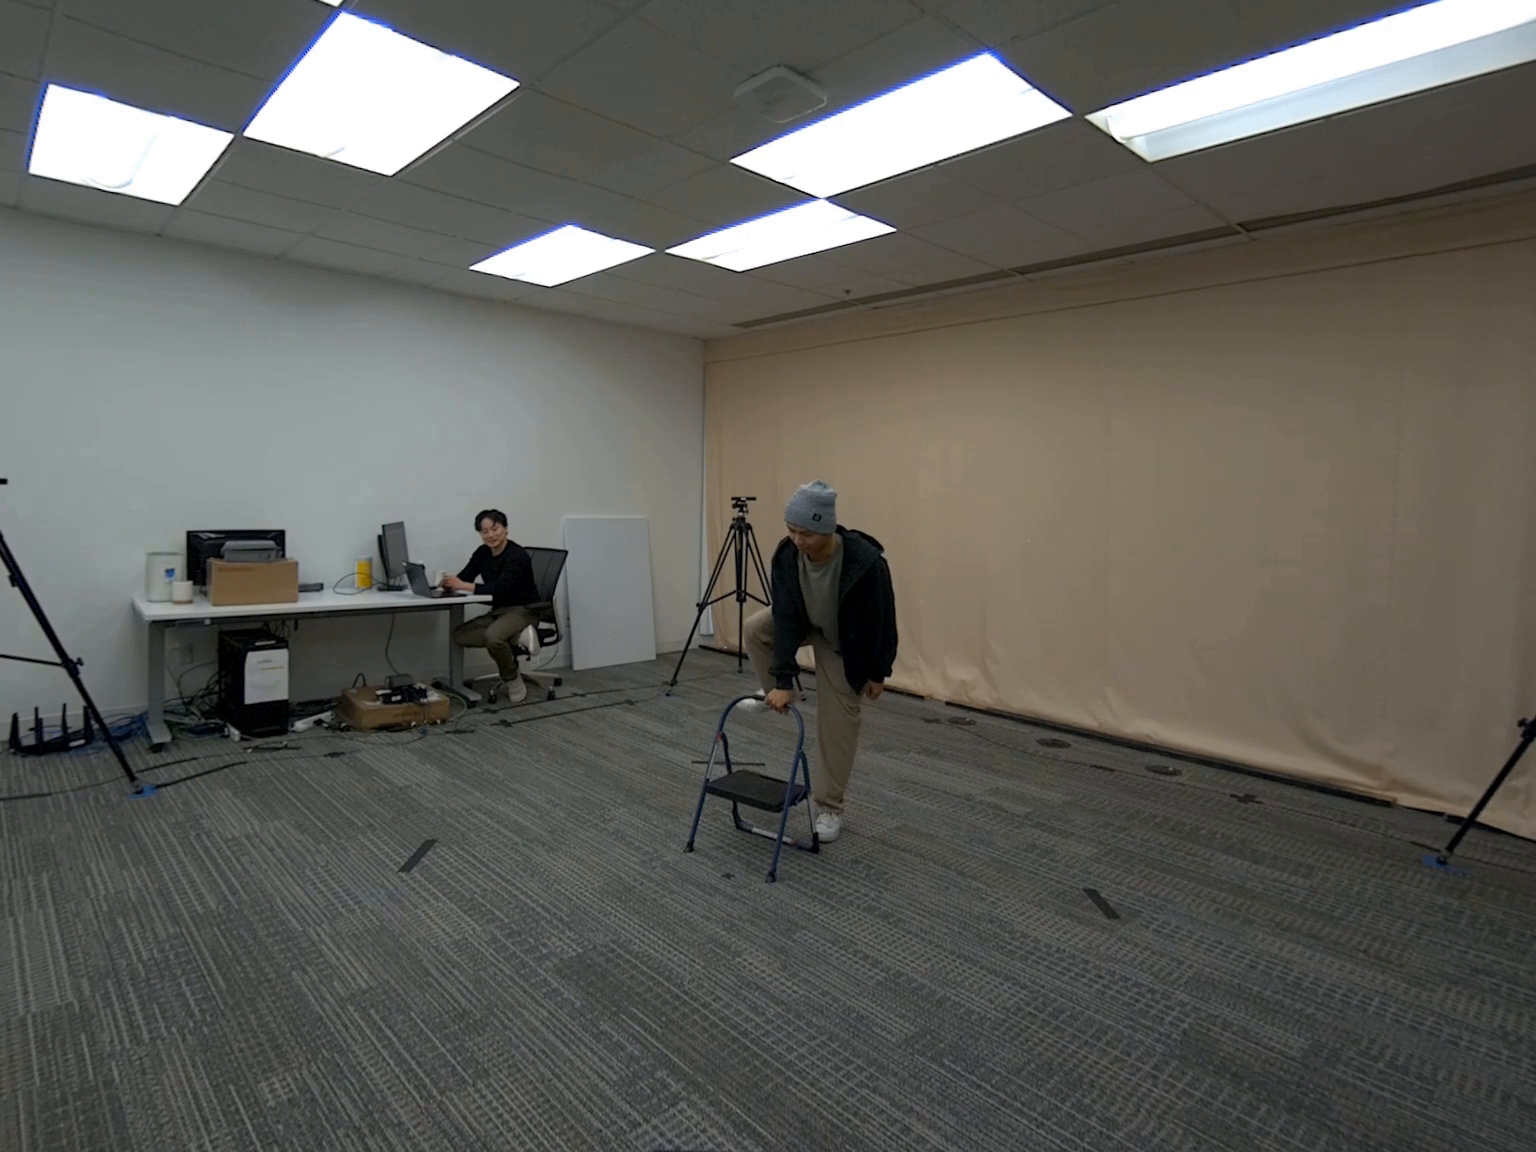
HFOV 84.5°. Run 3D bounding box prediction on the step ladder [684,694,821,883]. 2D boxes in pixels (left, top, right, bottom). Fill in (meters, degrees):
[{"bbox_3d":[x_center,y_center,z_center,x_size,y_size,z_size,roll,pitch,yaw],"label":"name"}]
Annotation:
[{"bbox_3d":[-0.058,0.788,3.304,0.441,0.604,0.342,4,4,36],"label":"step ladder"}]
